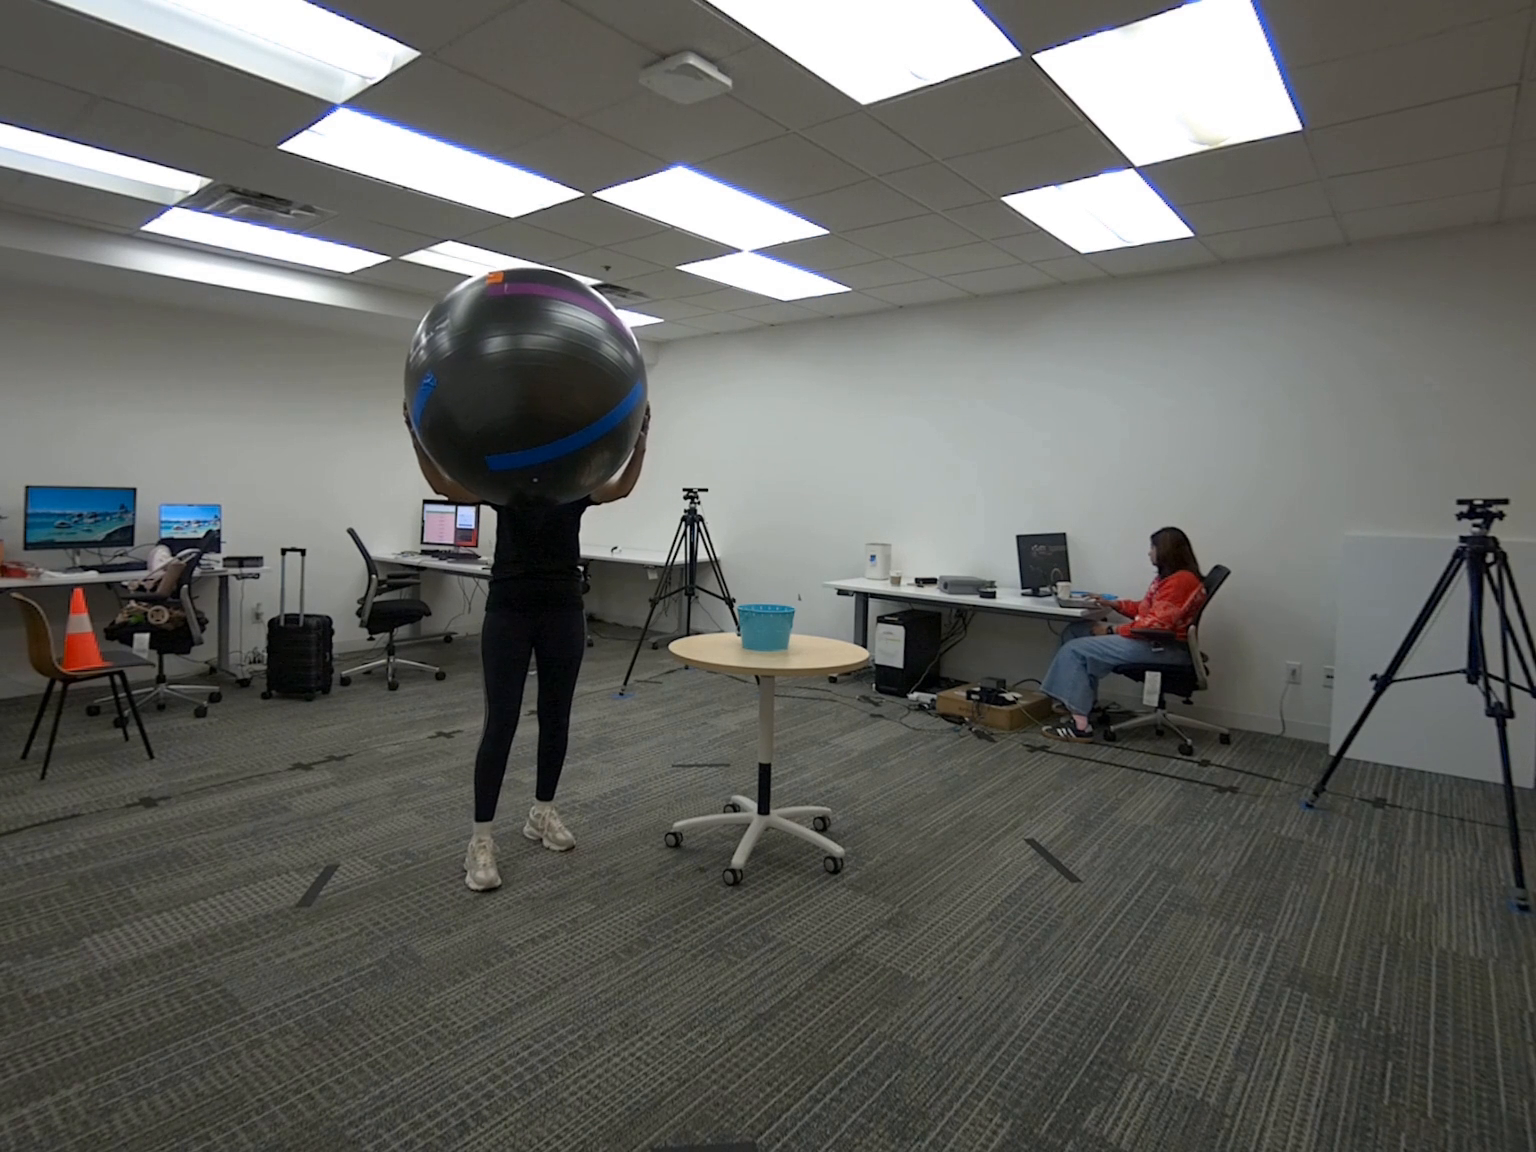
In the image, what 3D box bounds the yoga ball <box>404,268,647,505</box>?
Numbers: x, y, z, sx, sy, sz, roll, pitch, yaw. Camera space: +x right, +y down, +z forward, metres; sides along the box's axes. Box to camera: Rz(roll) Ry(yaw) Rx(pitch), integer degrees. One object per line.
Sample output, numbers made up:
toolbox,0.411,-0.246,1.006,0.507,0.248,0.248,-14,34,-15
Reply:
yoga ball,-0.774,-0.592,2.713,0.757,0.756,0.762,1,4,-2
